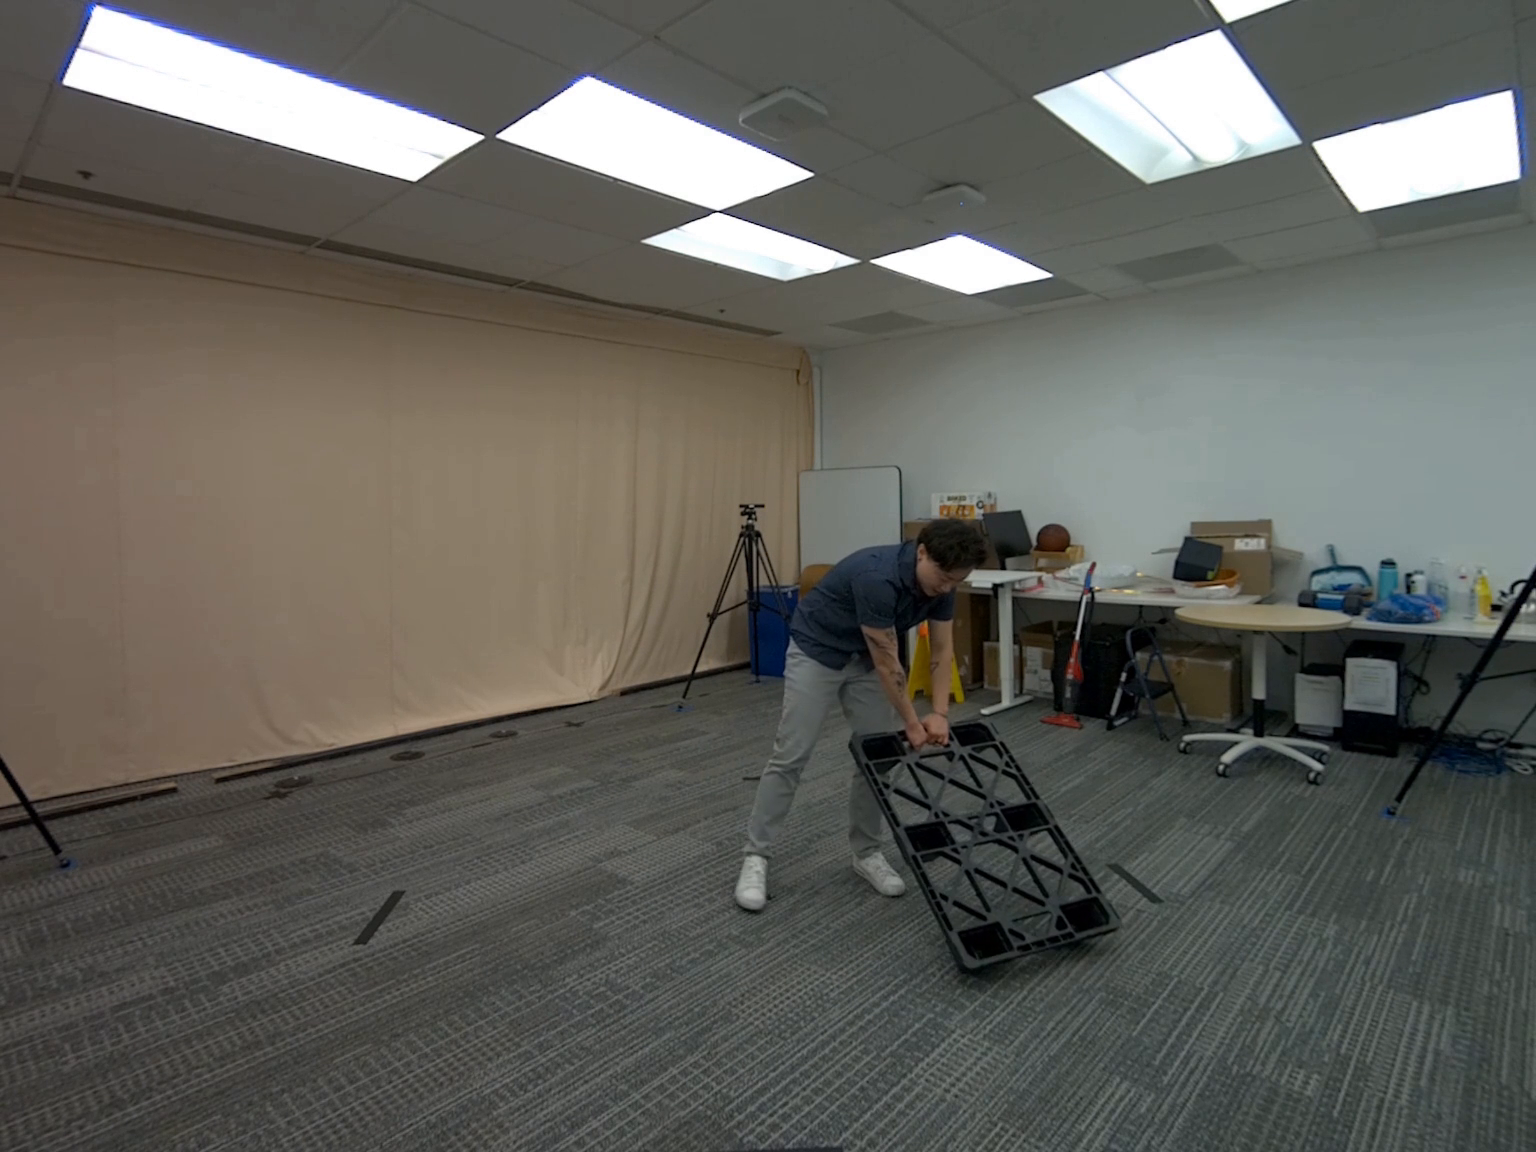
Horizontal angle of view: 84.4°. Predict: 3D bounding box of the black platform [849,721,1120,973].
[{"bbox_3d":[0.684,0.860,2.779,0.591,0.142,0.830,-2,44,-23],"label":"black platform"}]
